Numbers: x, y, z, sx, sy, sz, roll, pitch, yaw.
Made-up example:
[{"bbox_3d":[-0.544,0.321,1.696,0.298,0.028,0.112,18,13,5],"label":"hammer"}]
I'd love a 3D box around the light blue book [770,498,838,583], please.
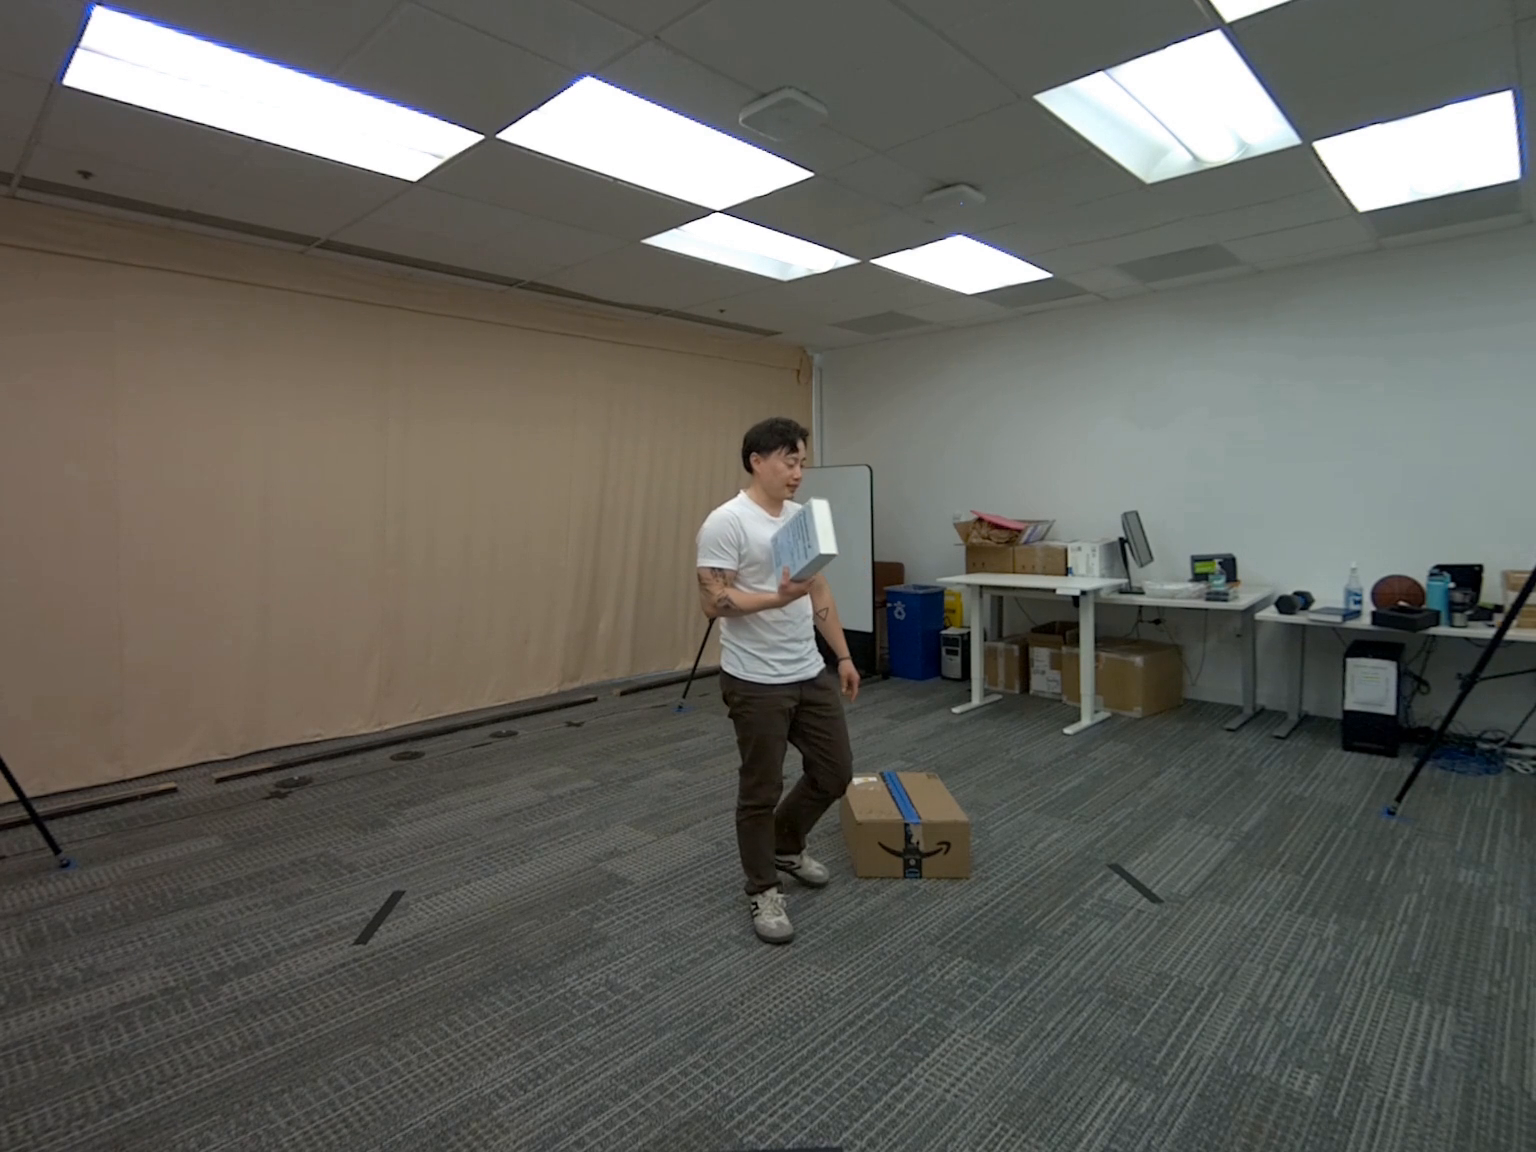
[{"bbox_3d":[0.107,-0.088,2.534,0.057,0.195,0.264,9,-29,-28],"label":"light blue book"}]
